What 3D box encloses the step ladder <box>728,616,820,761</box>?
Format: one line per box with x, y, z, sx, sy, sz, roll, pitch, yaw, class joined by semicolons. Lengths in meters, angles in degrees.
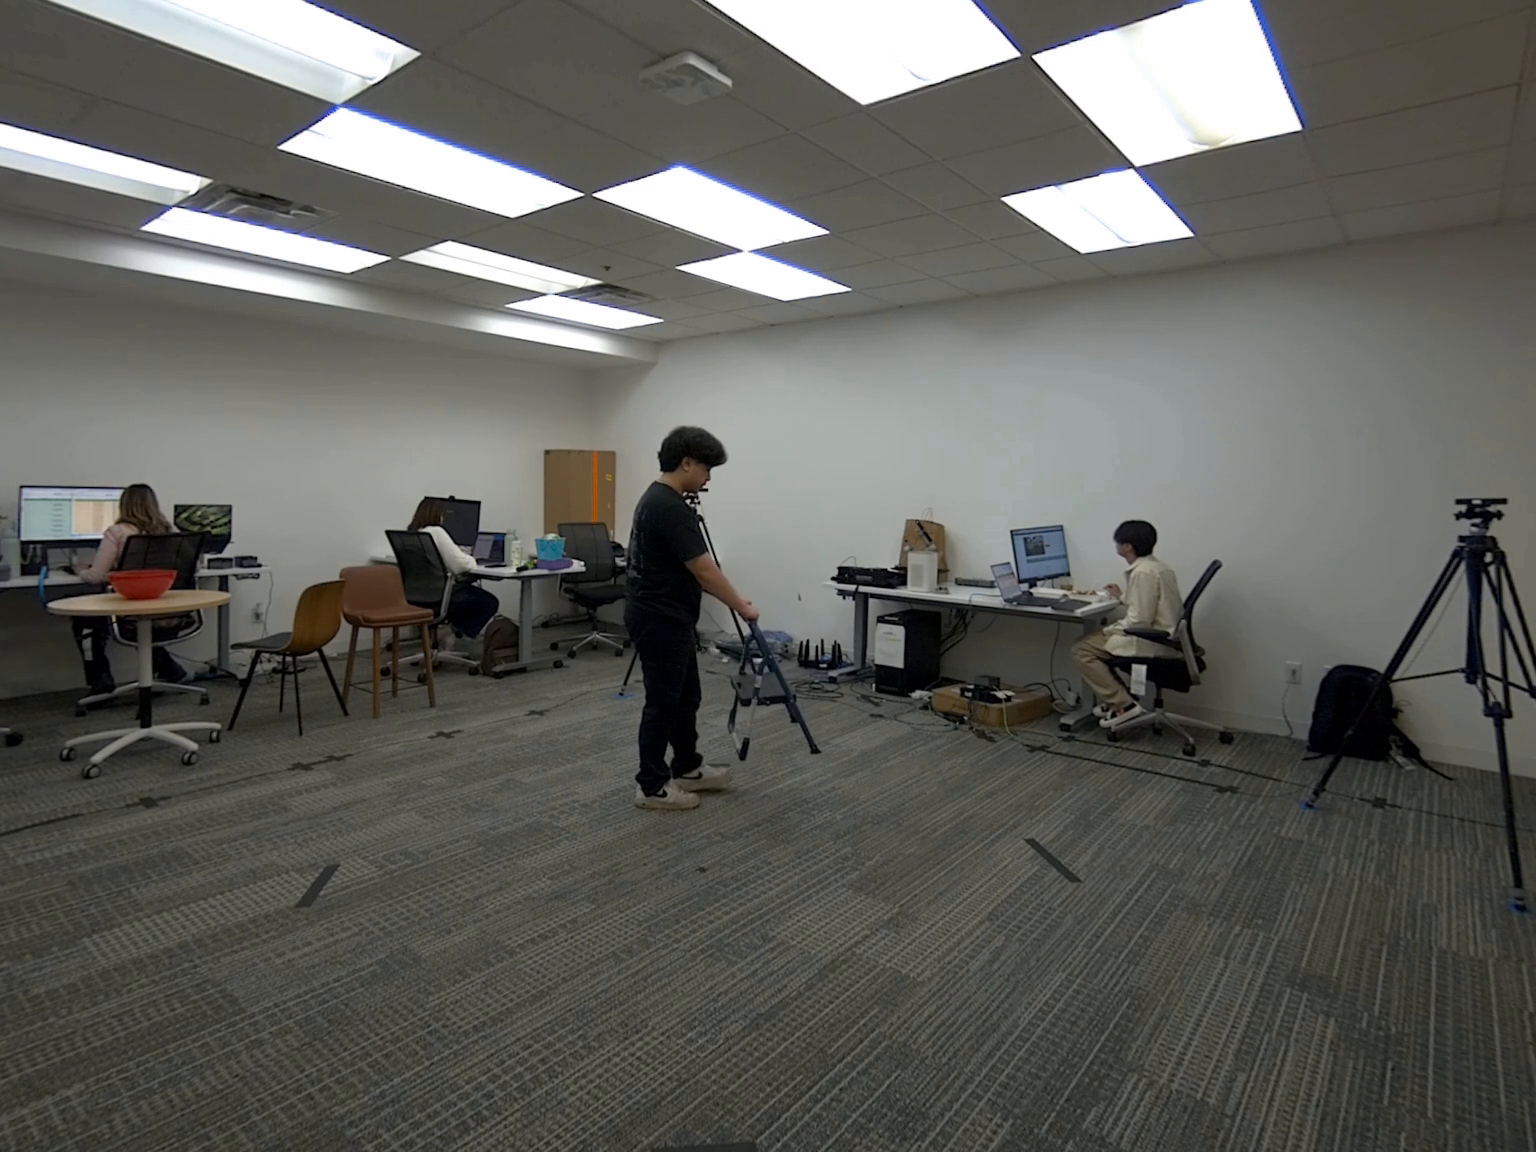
-0.013;0.443;3.773;0.346;0.601;0.438;-5;8;-9;step ladder
